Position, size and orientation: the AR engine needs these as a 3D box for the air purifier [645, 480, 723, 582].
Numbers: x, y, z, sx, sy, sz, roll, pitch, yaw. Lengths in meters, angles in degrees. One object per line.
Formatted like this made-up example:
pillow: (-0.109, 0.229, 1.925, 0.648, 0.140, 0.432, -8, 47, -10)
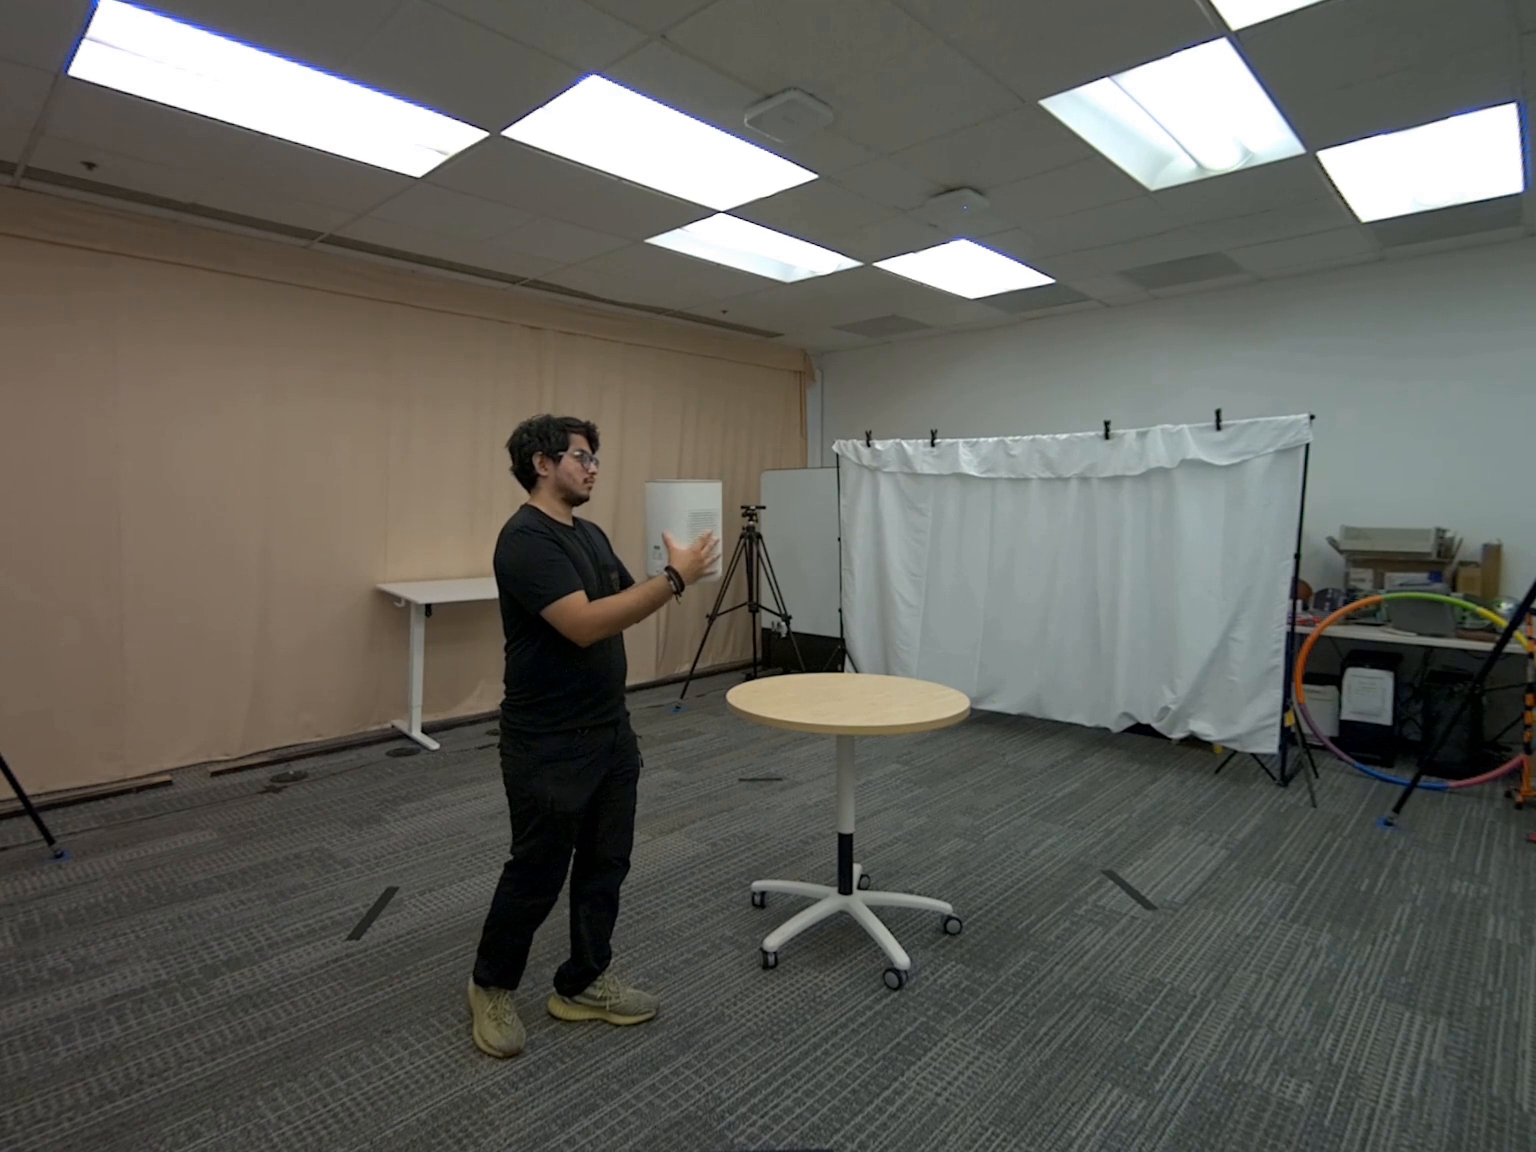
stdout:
air purifier: (-0.222, -0.118, 2.161, 0.166, 0.265, 0.177, -4, 5, -43)
